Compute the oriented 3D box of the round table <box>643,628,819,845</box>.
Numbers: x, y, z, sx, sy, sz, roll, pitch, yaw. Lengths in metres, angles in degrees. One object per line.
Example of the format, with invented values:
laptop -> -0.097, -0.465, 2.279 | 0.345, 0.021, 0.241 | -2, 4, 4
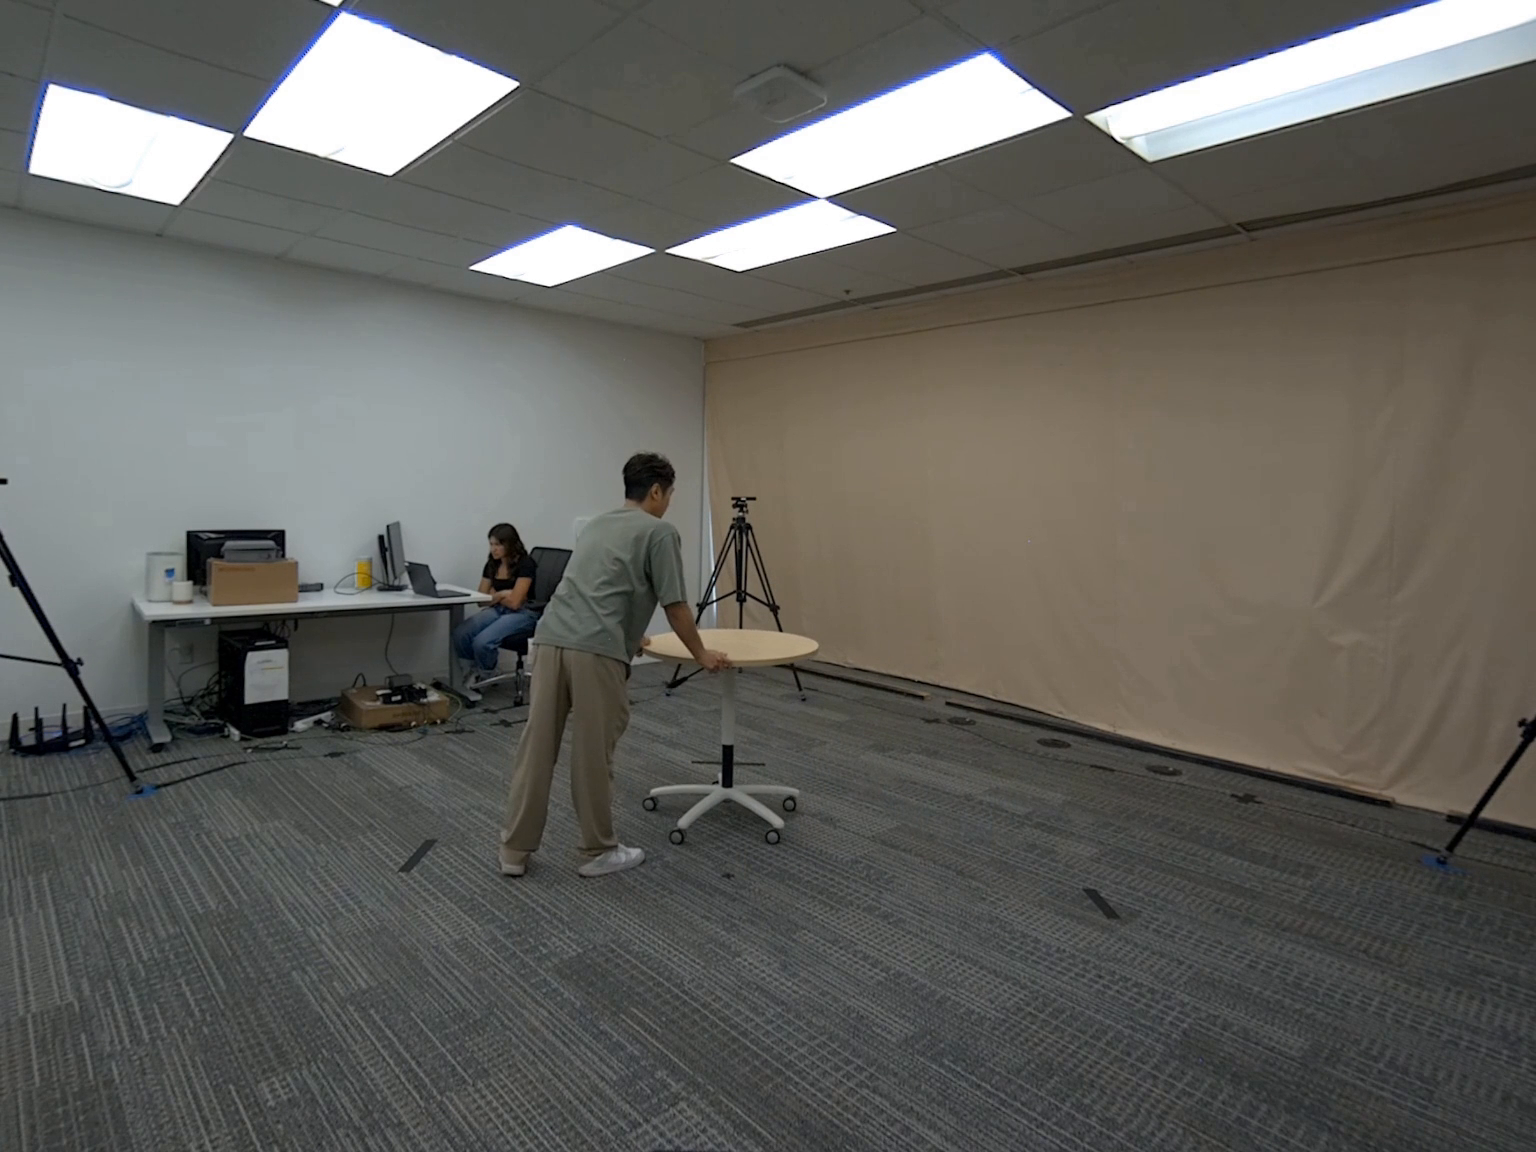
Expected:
round table -> -0.173, 0.673, 3.651 | 0.784, 0.784, 0.788 | 1, 4, -1
